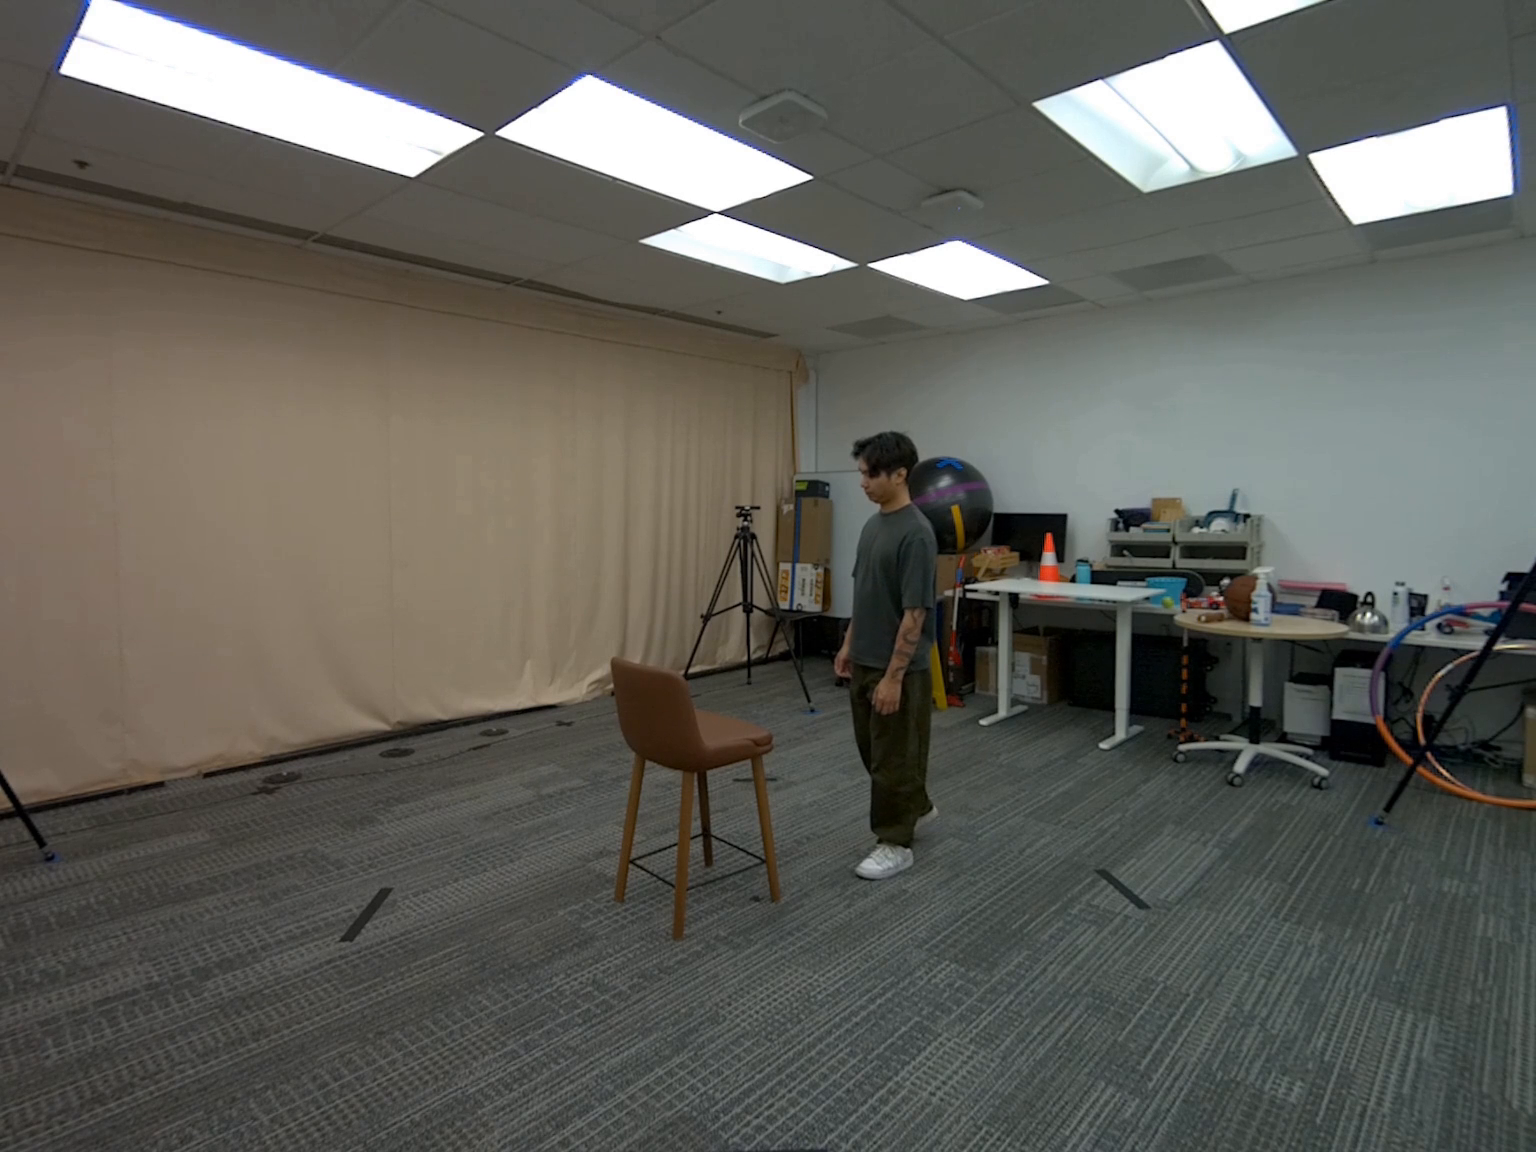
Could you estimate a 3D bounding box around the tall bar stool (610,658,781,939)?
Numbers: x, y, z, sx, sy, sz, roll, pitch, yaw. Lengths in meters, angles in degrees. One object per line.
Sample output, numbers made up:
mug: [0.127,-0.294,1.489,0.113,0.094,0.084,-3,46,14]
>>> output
tall bar stool: [-0.252,0.709,2.954,0.454,0.887,0.471,-6,6,-41]
